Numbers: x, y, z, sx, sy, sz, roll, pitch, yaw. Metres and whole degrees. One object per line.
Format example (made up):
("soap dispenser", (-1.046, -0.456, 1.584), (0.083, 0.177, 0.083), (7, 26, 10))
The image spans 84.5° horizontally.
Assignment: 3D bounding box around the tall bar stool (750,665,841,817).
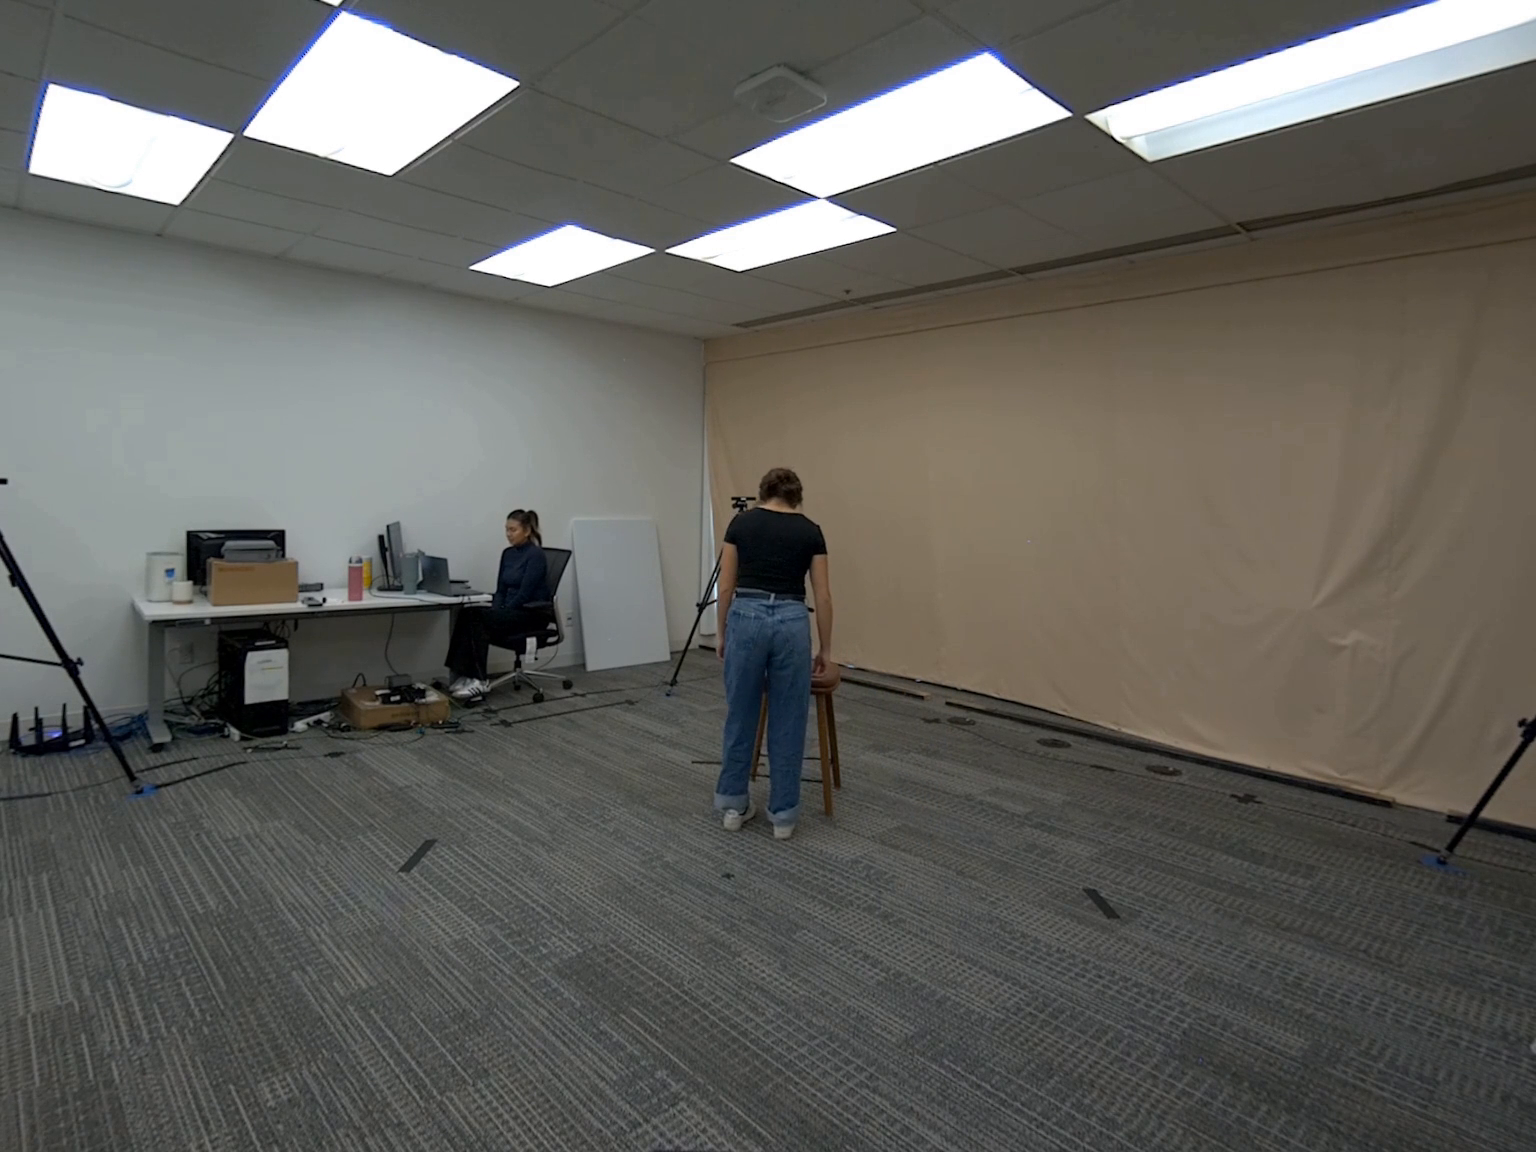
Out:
("tall bar stool", (0.103, 0.606, 3.956), (0.472, 0.888, 0.453), (1, 2, 12))
